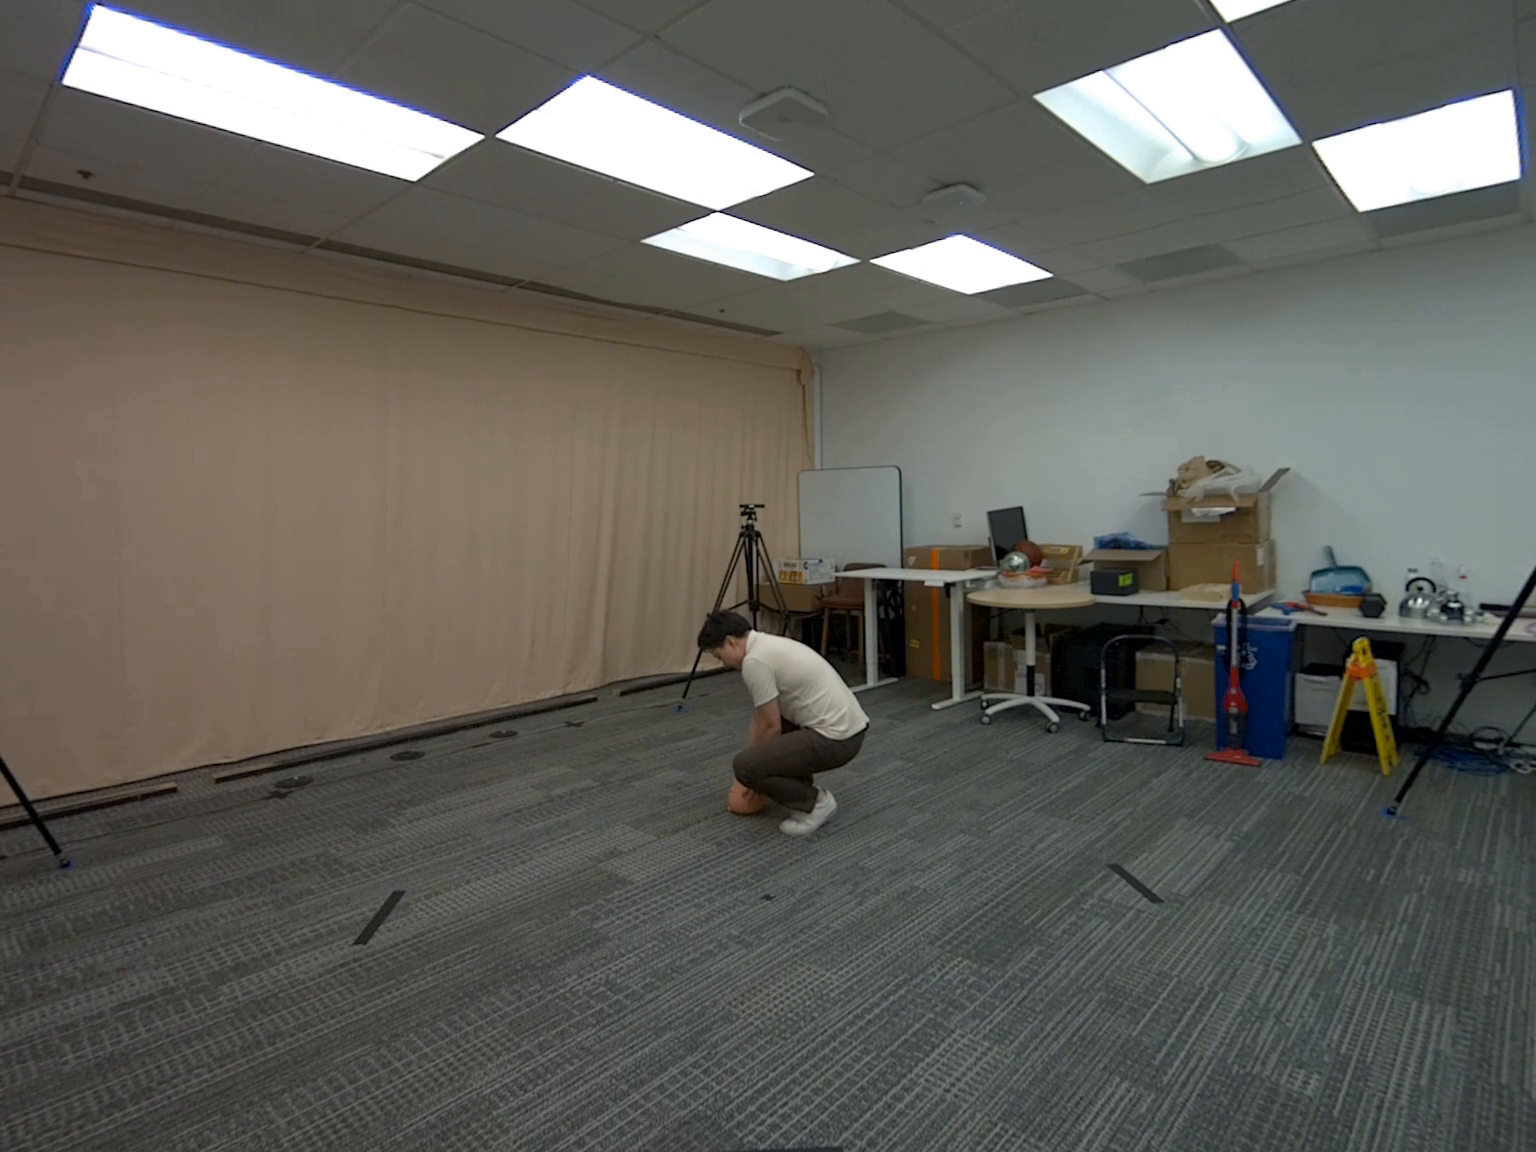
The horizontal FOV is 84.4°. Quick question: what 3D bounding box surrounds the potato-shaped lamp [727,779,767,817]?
[{"bbox_3d":[-0.098,0.967,3.828,0.176,0.197,0.161,3,5,27],"label":"potato-shaped lamp"}]
